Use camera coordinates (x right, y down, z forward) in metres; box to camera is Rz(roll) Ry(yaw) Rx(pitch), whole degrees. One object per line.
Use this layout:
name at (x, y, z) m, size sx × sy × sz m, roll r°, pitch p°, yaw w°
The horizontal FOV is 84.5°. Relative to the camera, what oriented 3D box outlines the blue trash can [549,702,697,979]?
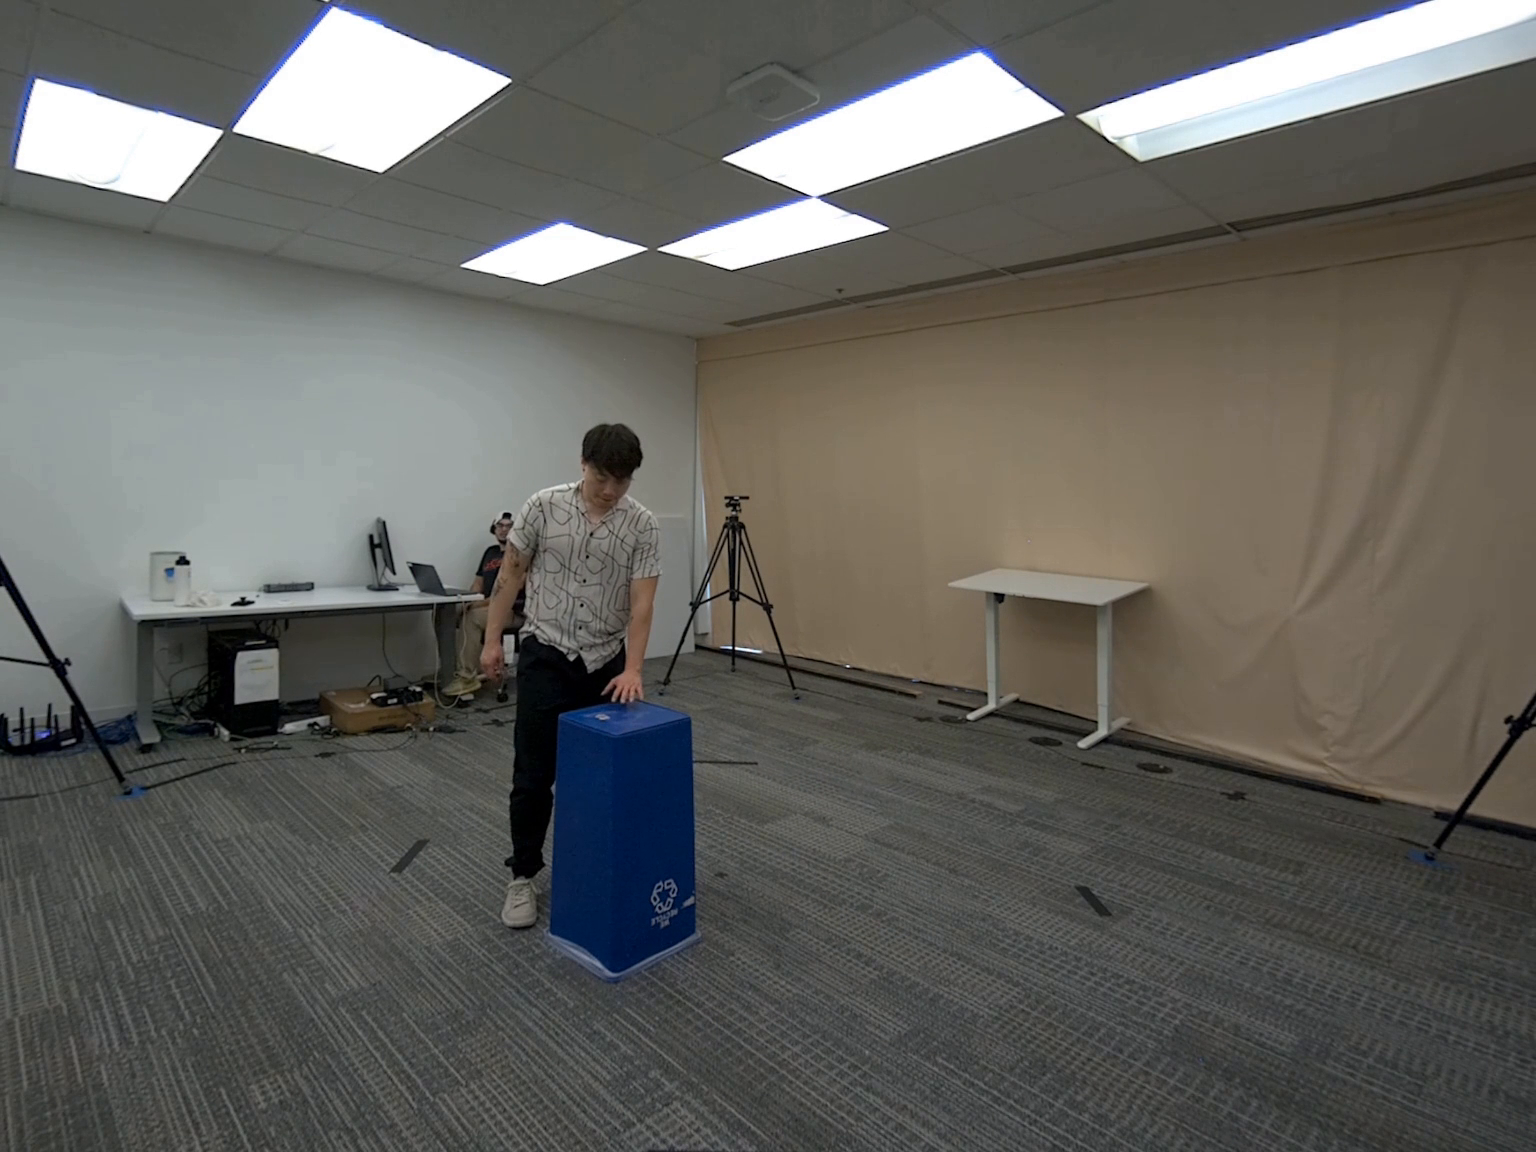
blue trash can at (-0.466, 0.789, 2.619) m, size 0.387 × 0.711 × 0.366 m, roll 4°, pitch 5°, yaw 44°
